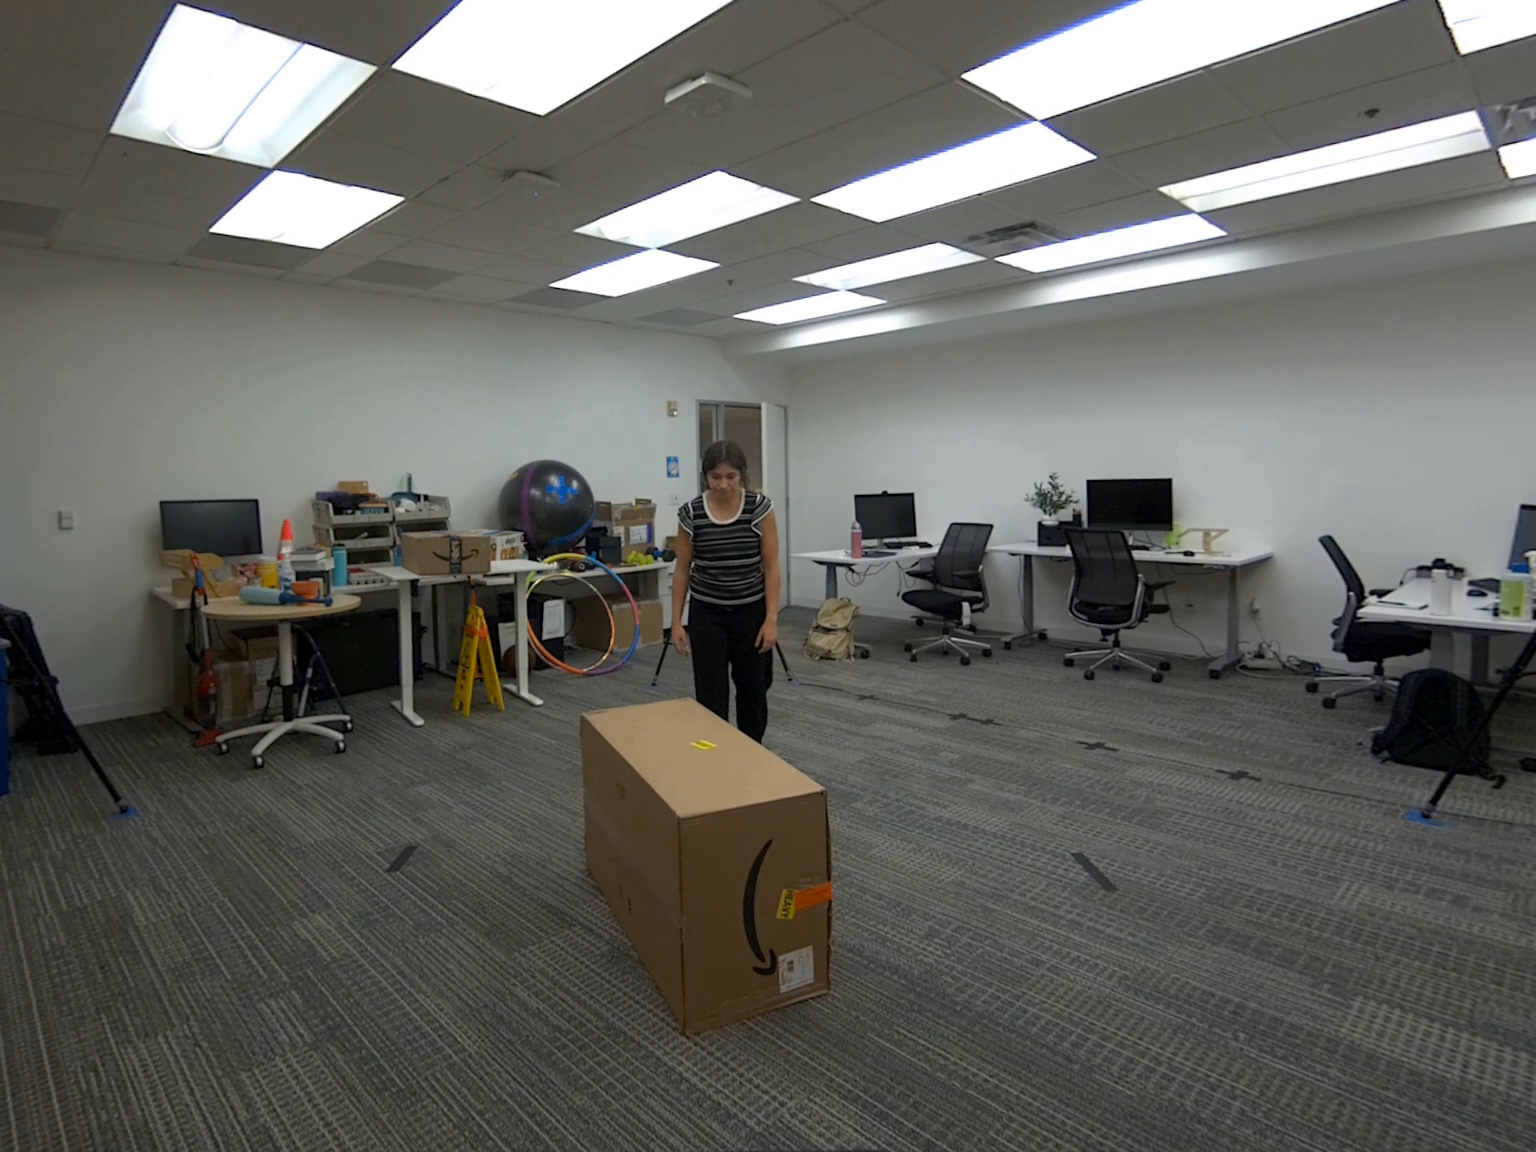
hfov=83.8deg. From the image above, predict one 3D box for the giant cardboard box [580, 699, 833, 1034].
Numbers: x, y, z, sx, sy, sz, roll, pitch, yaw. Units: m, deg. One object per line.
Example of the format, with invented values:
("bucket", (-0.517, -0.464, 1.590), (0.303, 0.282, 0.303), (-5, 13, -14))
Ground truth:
("giant cardboard box", (-0.250, 0.814, 2.680), (0.418, 0.574, 1.052), (-4, 7, -24))
